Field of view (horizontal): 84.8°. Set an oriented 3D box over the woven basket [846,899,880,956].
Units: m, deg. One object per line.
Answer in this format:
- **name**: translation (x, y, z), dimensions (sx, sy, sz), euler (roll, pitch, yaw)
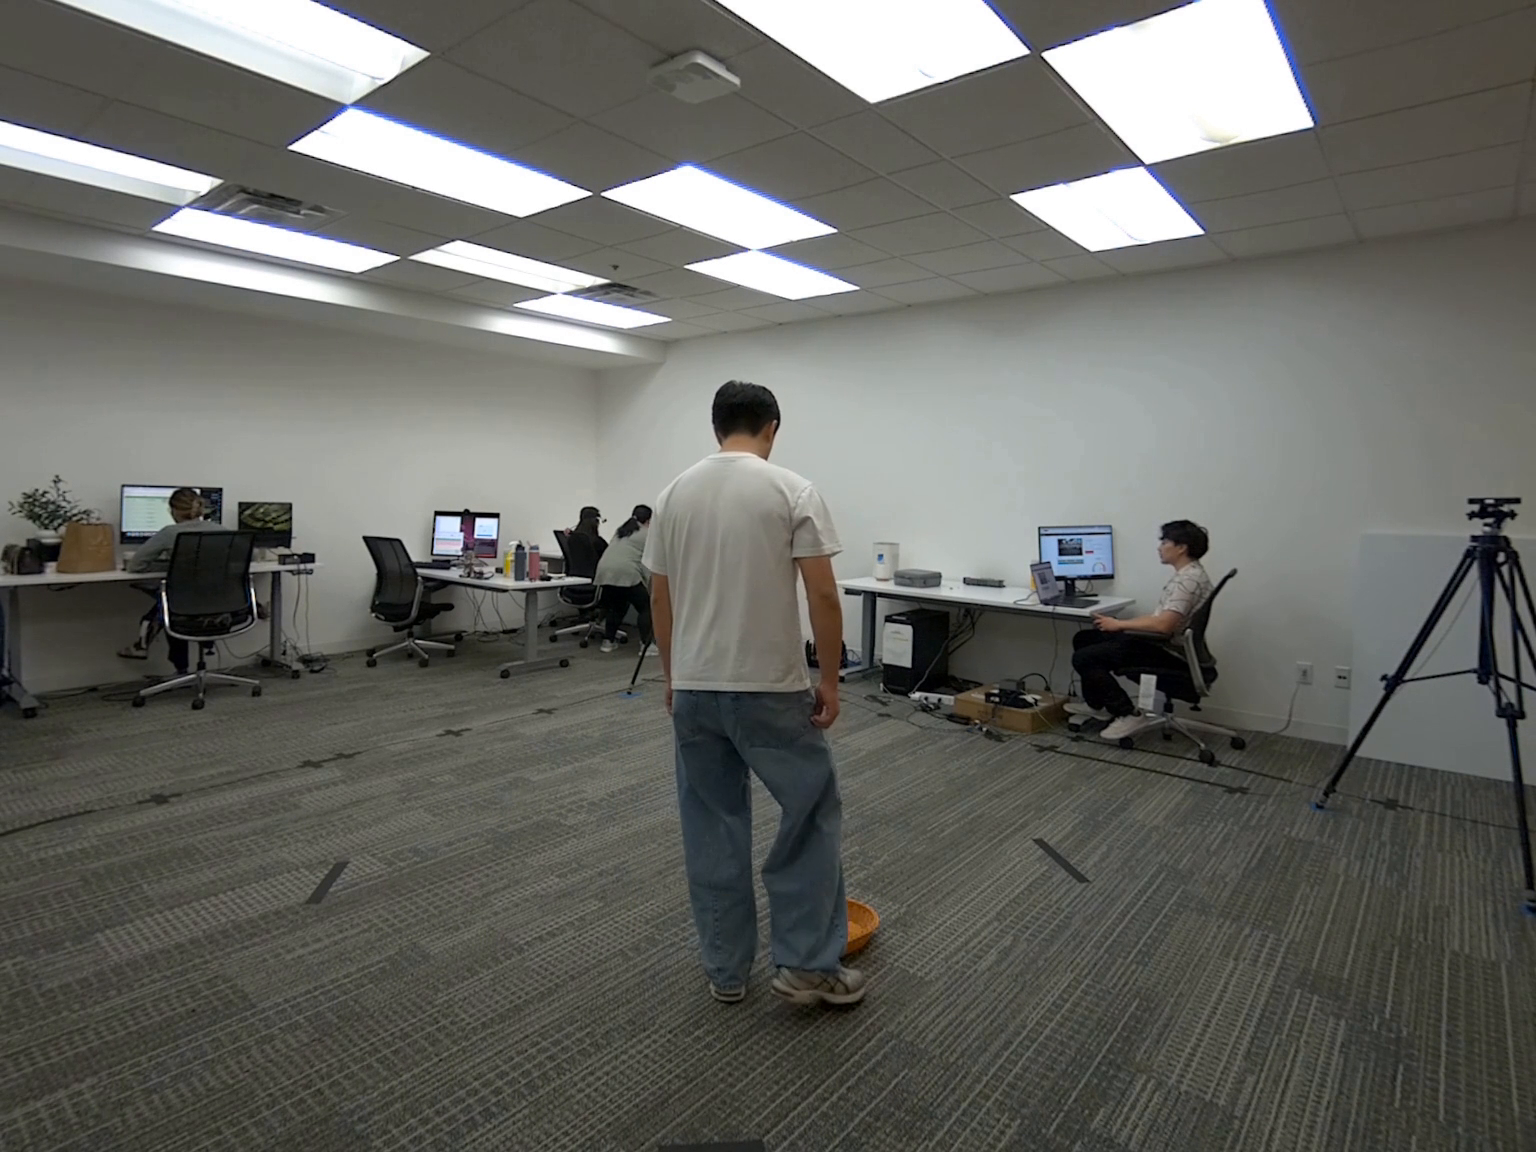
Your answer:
- **woven basket**: translation (0.168, 1.079, 2.621), dimensions (0.340, 0.073, 0.261), euler (-3, 6, -37)
